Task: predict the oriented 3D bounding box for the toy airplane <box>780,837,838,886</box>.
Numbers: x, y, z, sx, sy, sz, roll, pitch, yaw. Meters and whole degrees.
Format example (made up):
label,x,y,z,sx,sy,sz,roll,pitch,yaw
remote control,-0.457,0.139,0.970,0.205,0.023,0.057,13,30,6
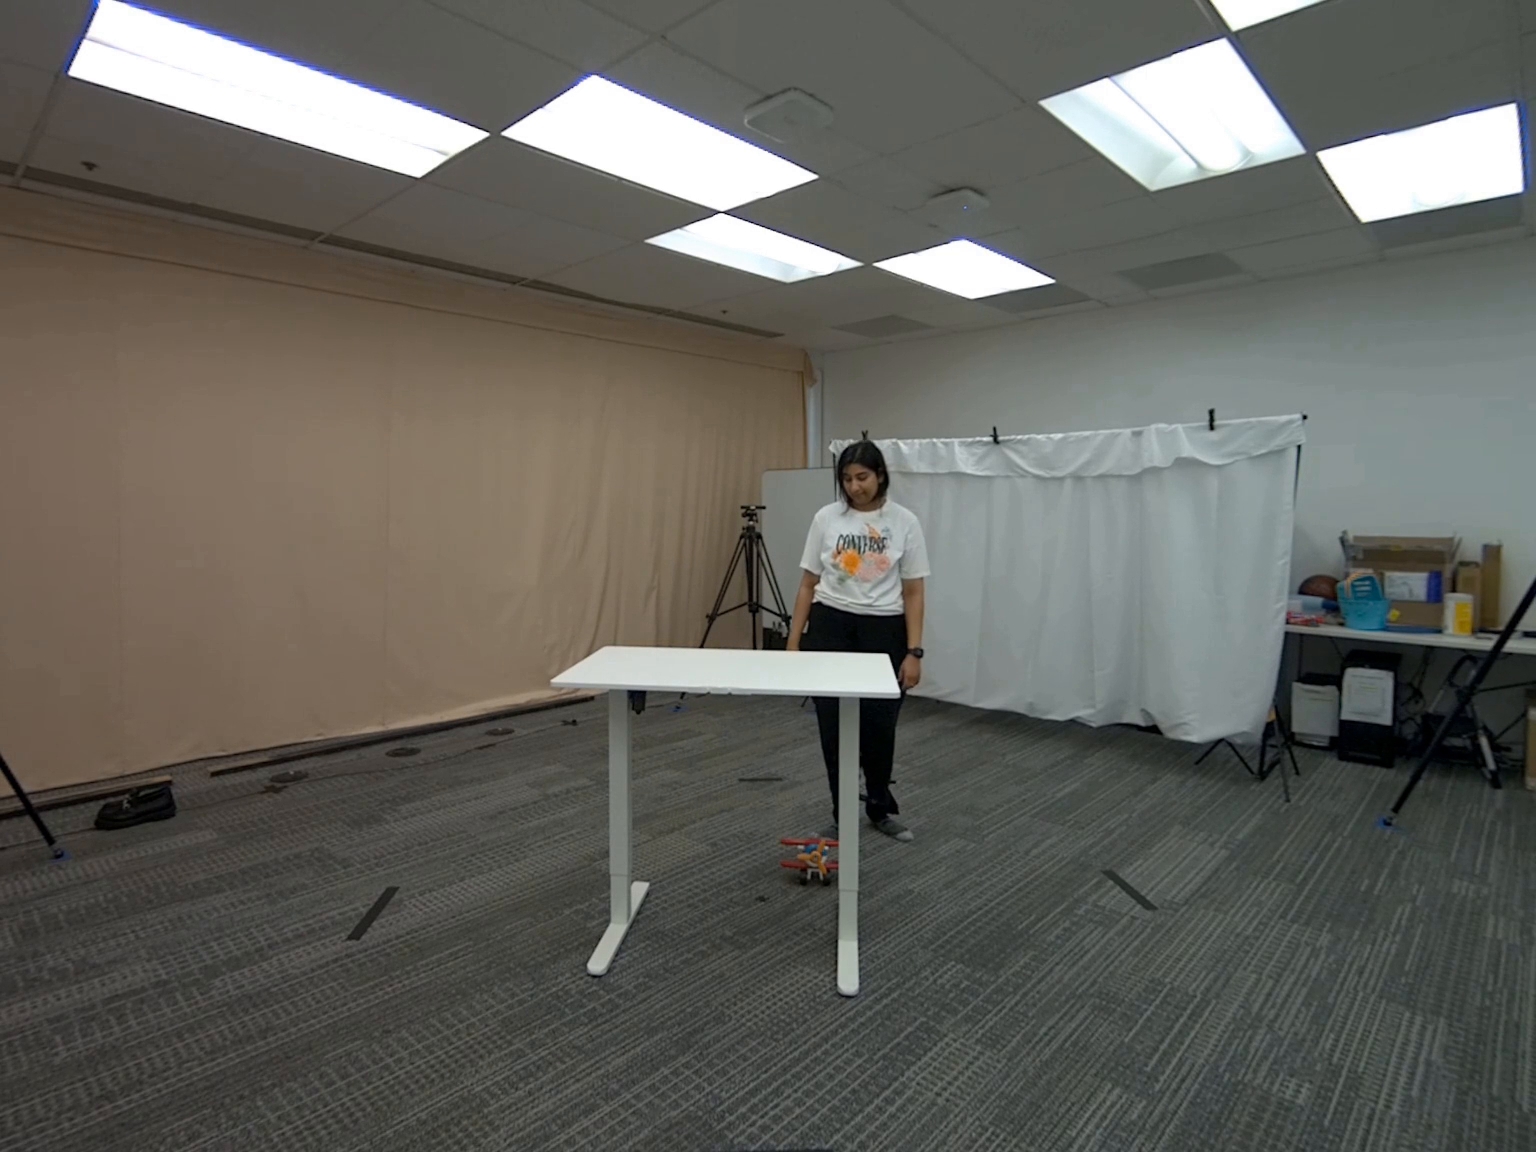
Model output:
label,x,y,z,sx,sy,sz,roll,pitch,yaw
toy airplane,0.153,1.051,3.173,0.244,0.156,0.267,-1,5,-28
